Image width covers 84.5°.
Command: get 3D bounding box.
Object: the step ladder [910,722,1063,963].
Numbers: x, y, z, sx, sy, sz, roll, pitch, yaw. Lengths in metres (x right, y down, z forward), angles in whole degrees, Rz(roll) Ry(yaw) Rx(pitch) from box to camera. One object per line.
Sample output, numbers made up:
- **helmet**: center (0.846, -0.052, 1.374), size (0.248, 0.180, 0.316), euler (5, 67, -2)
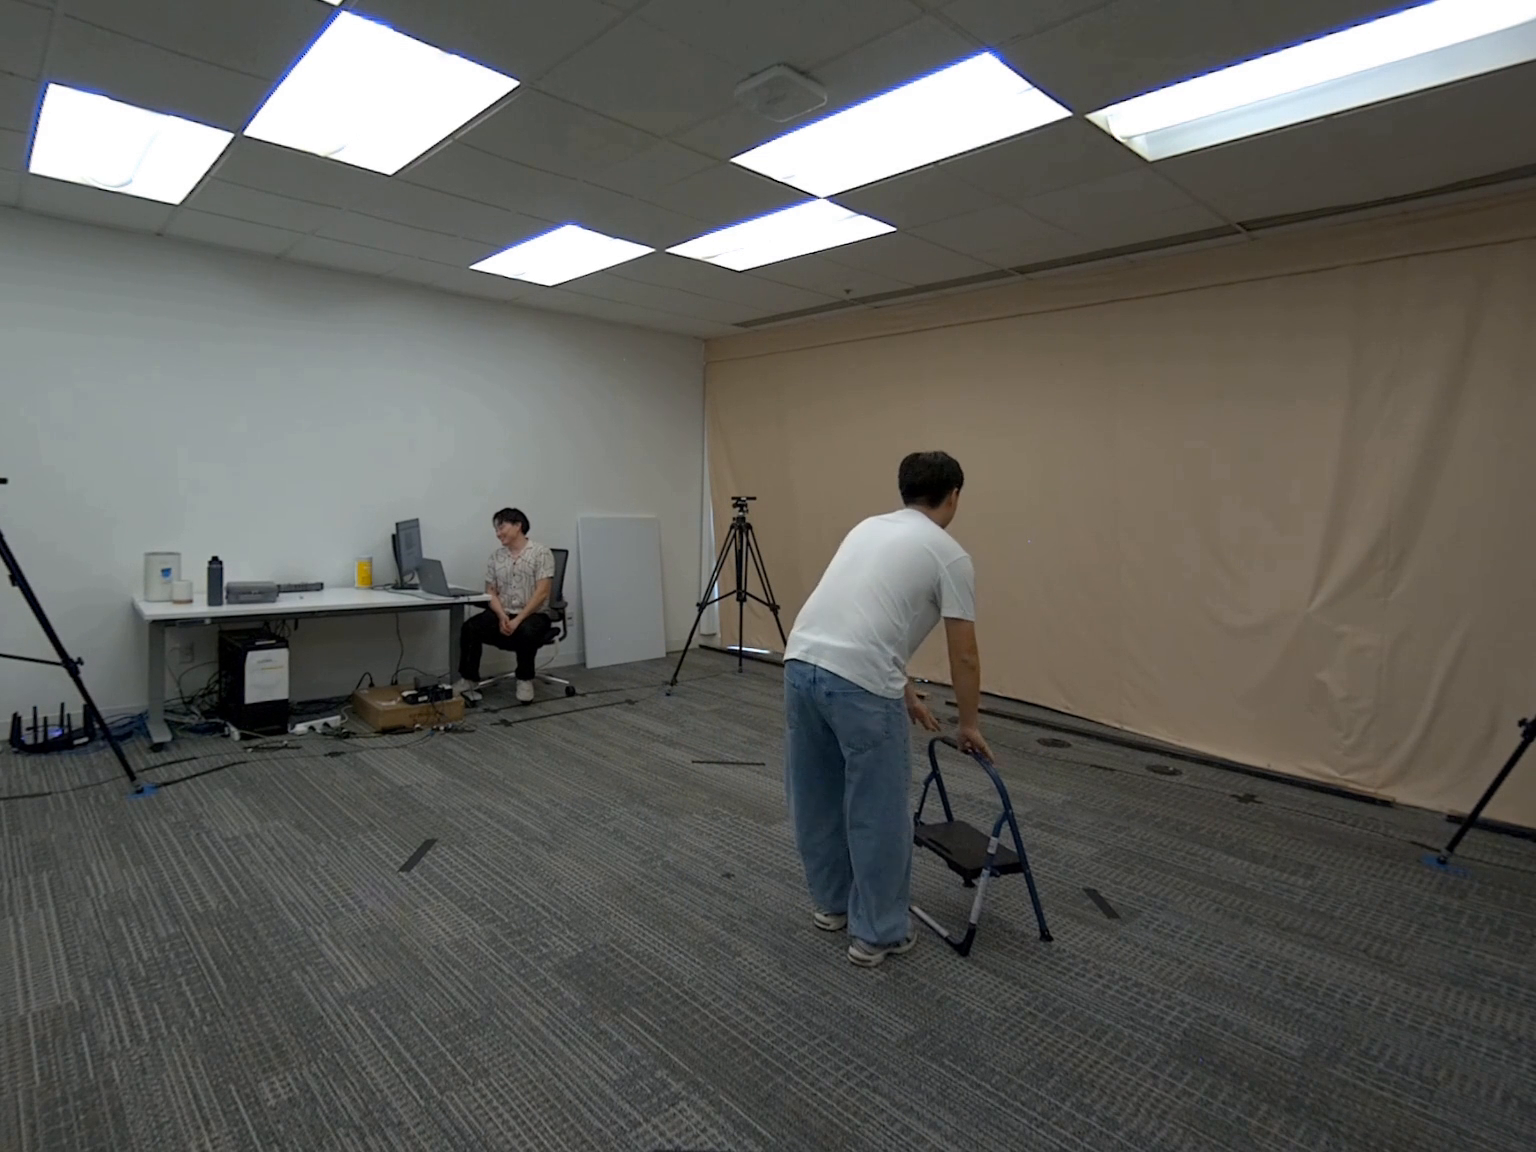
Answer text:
- **step ladder**: center (0.680, 0.848, 2.824), size (0.343, 0.605, 0.439), euler (-1, 3, -23)
